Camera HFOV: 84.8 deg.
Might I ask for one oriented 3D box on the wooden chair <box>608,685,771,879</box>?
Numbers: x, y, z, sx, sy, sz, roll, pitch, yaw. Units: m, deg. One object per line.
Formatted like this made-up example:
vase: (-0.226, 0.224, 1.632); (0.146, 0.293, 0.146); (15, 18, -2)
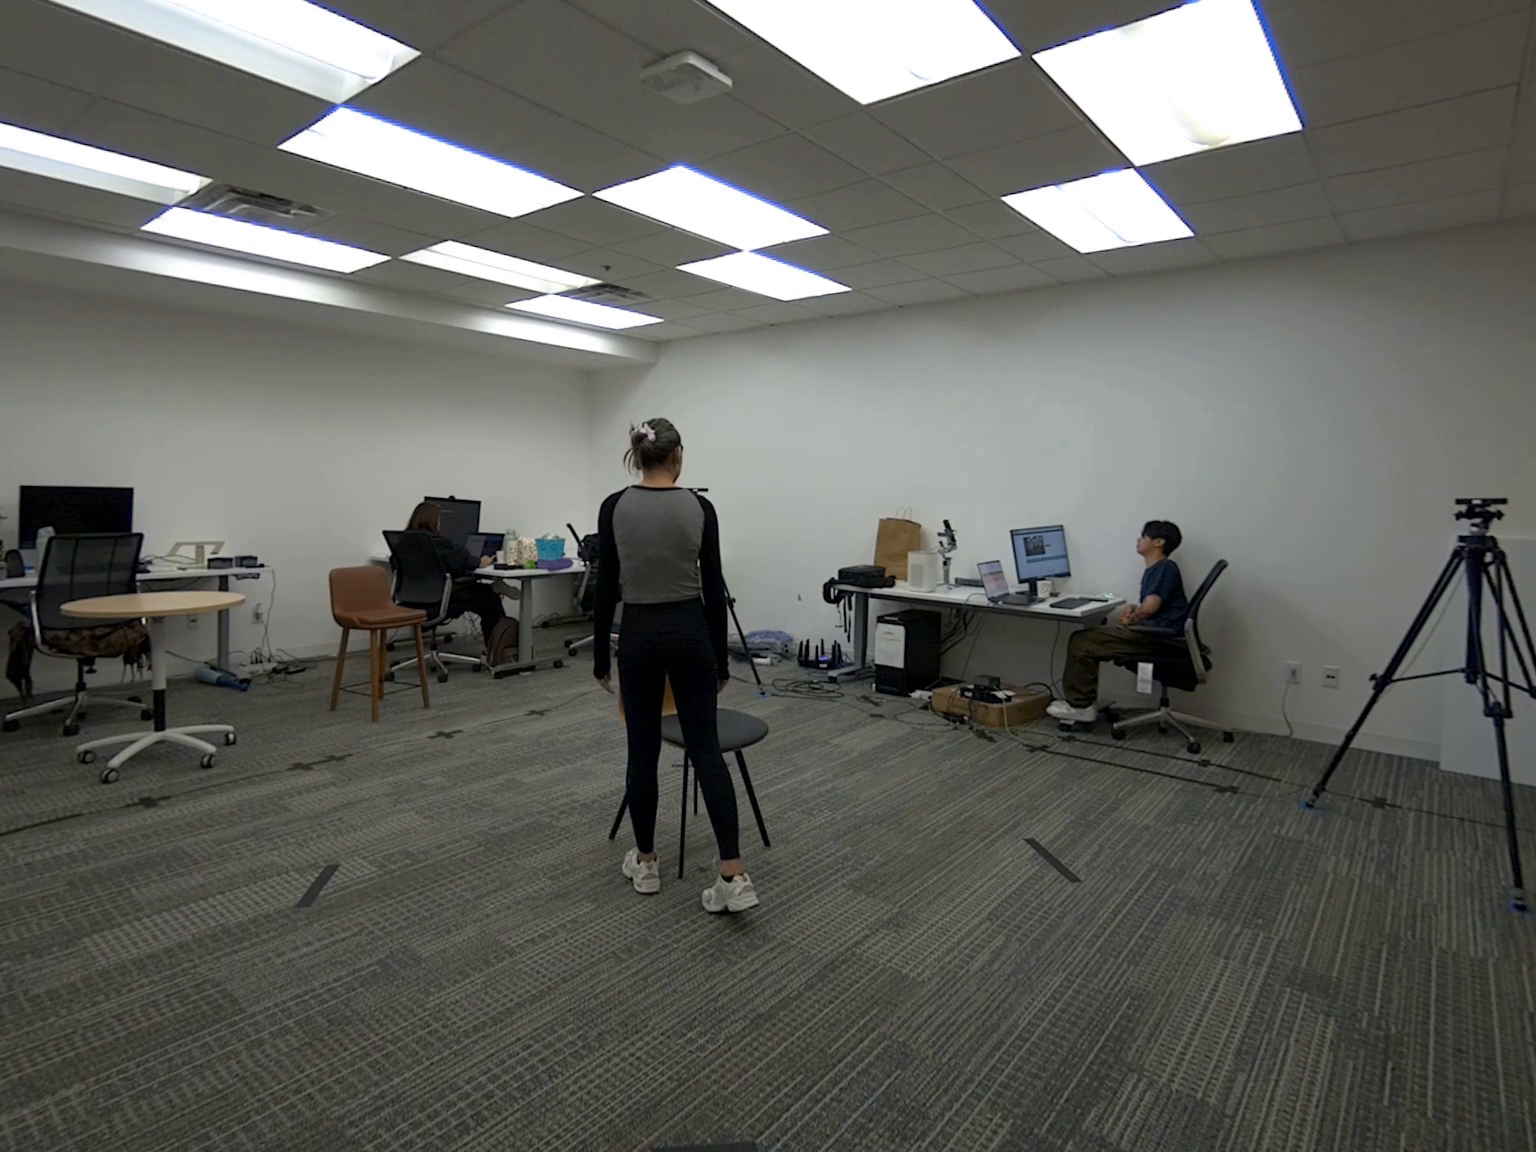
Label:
wooden chair: (-0.302, 0.620, 3.309); (0.463, 0.878, 0.539); (-1, 0, -43)
